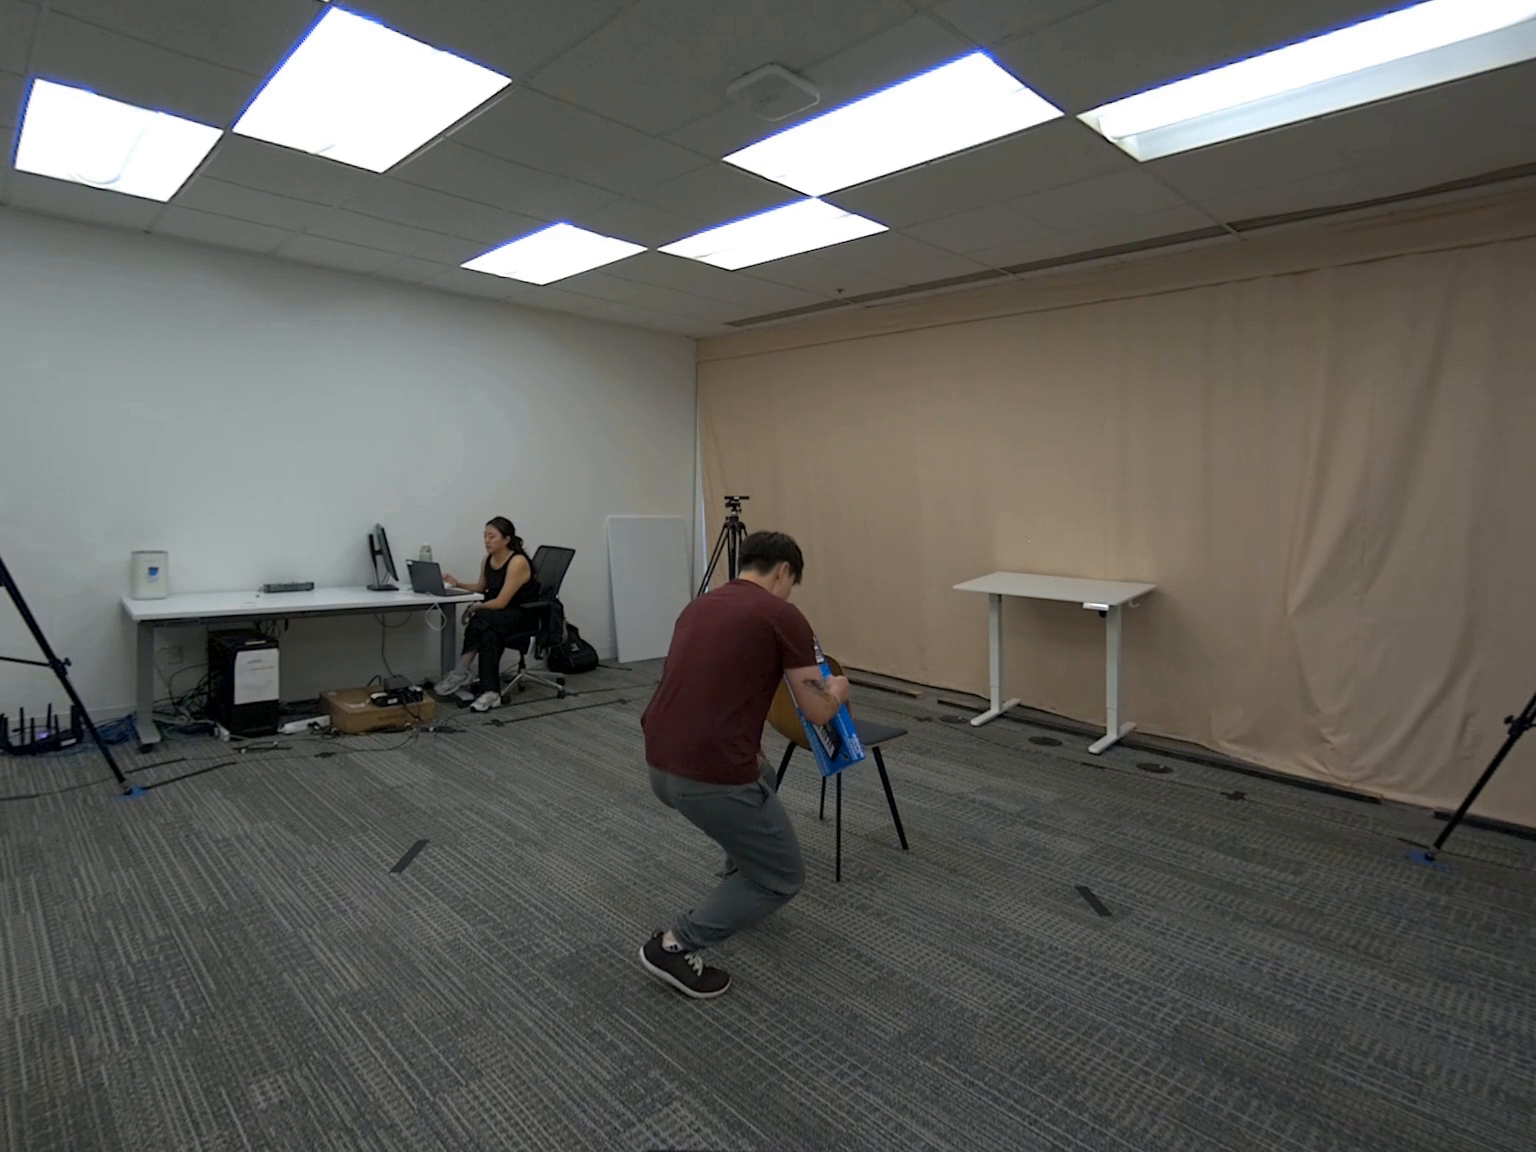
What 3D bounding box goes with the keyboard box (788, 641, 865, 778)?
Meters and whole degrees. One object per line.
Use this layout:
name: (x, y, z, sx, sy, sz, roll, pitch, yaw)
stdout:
keyboard box: (0.167, 0.435, 2.795, 0.058, 0.446, 0.176, -5, -28, -37)
